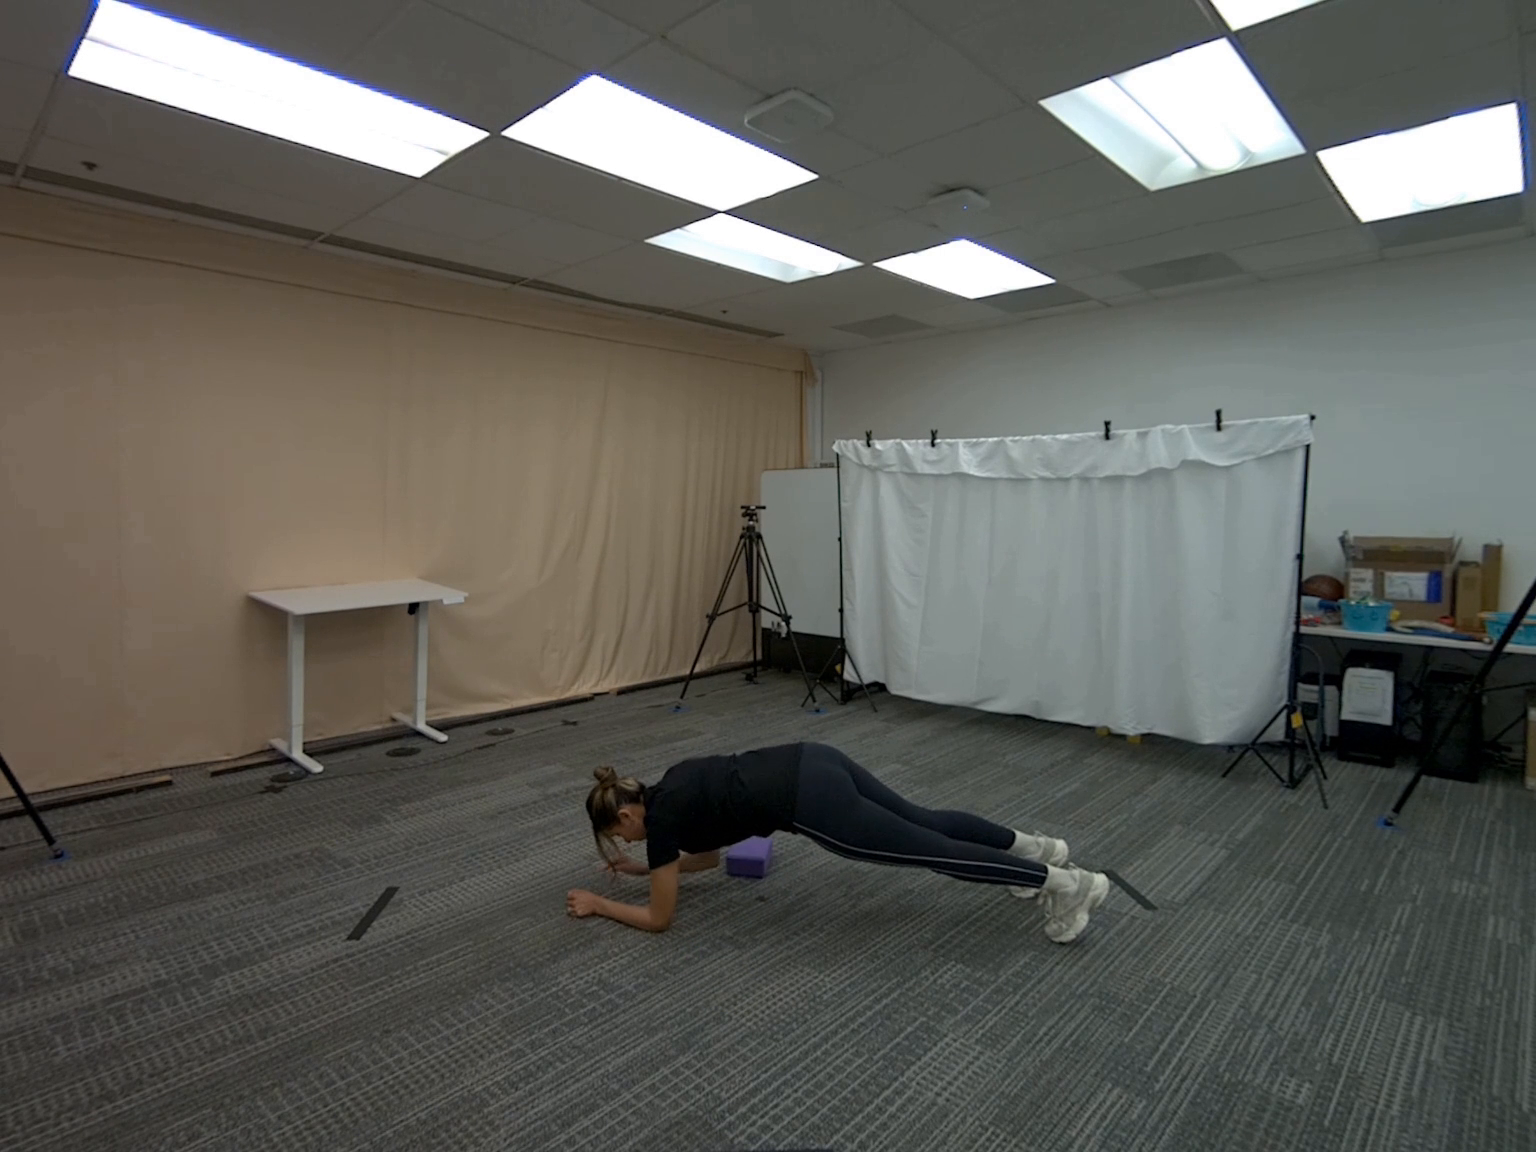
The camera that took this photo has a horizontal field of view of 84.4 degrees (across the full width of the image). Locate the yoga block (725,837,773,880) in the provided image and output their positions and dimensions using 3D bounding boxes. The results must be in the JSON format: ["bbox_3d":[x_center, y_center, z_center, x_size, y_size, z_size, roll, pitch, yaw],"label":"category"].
[{"bbox_3d":[-0.068,1.072,3.261,0.151,0.076,0.228,1,7,9],"label":"yoga block"}]
